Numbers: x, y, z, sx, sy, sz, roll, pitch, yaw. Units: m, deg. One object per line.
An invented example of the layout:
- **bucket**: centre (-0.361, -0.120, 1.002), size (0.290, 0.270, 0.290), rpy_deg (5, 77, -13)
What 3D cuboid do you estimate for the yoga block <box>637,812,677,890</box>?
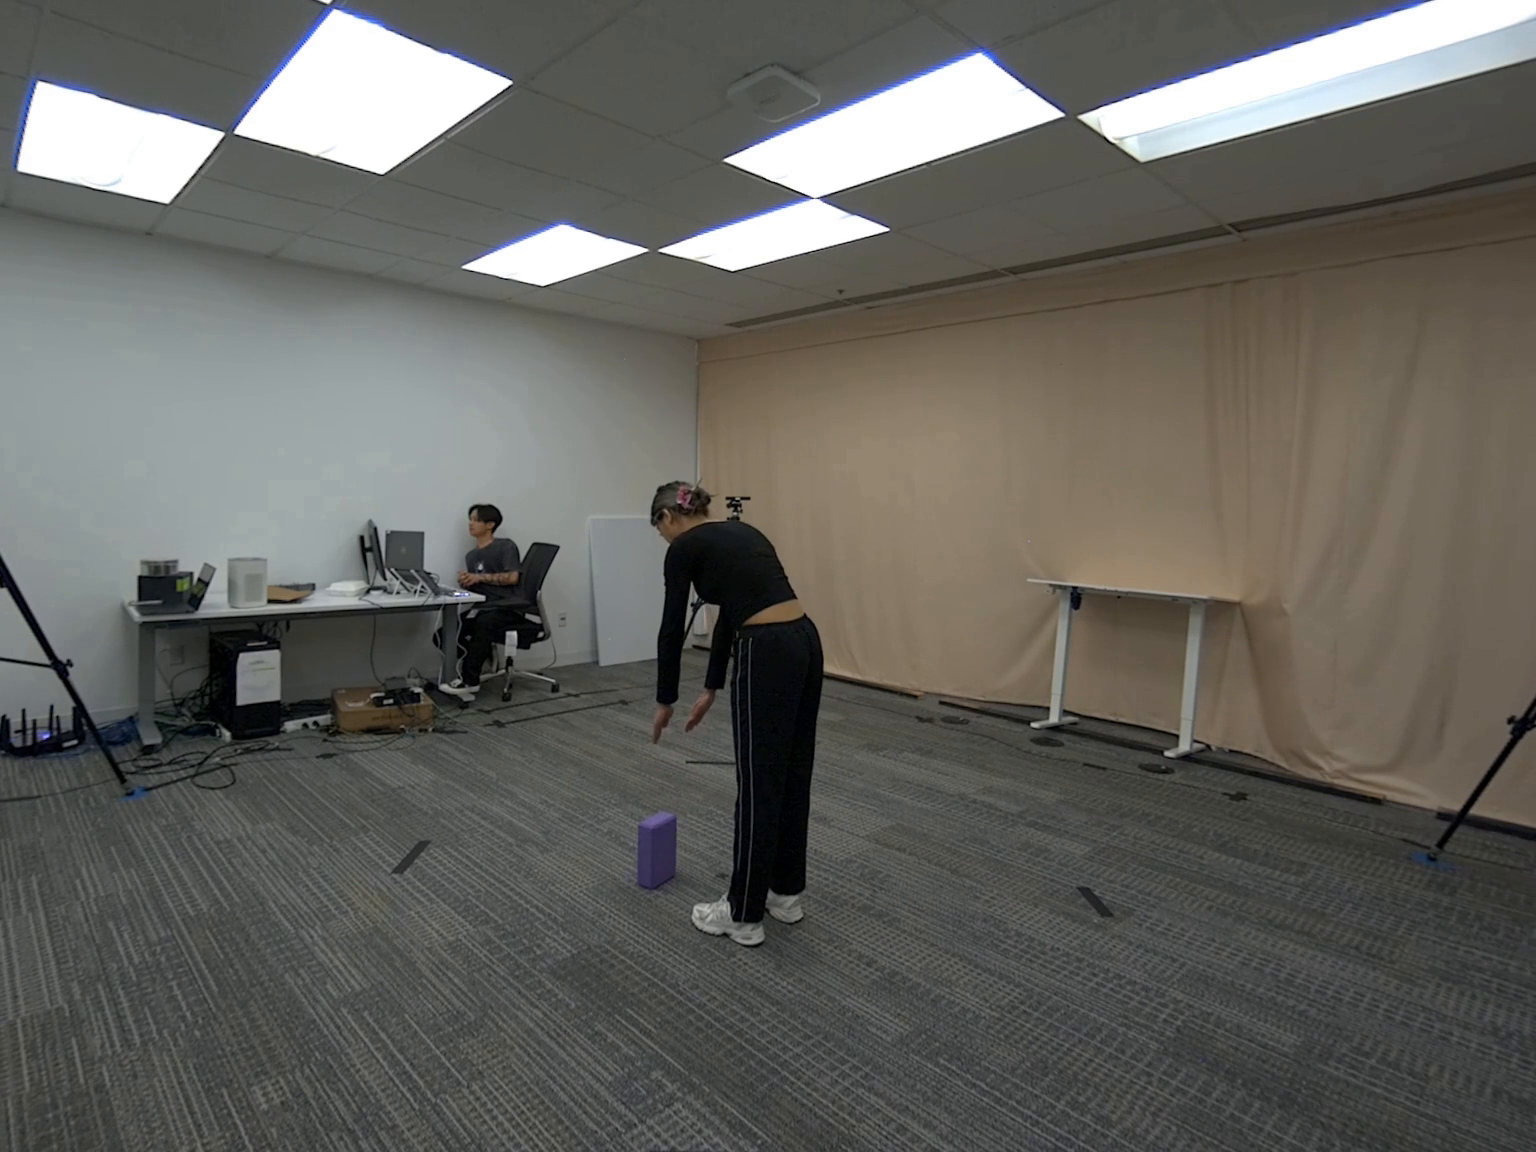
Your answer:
- **yoga block**: centre (-0.410, 0.991, 3.043), size (0.078, 0.229, 0.146), rpy_deg (2, 5, 30)
